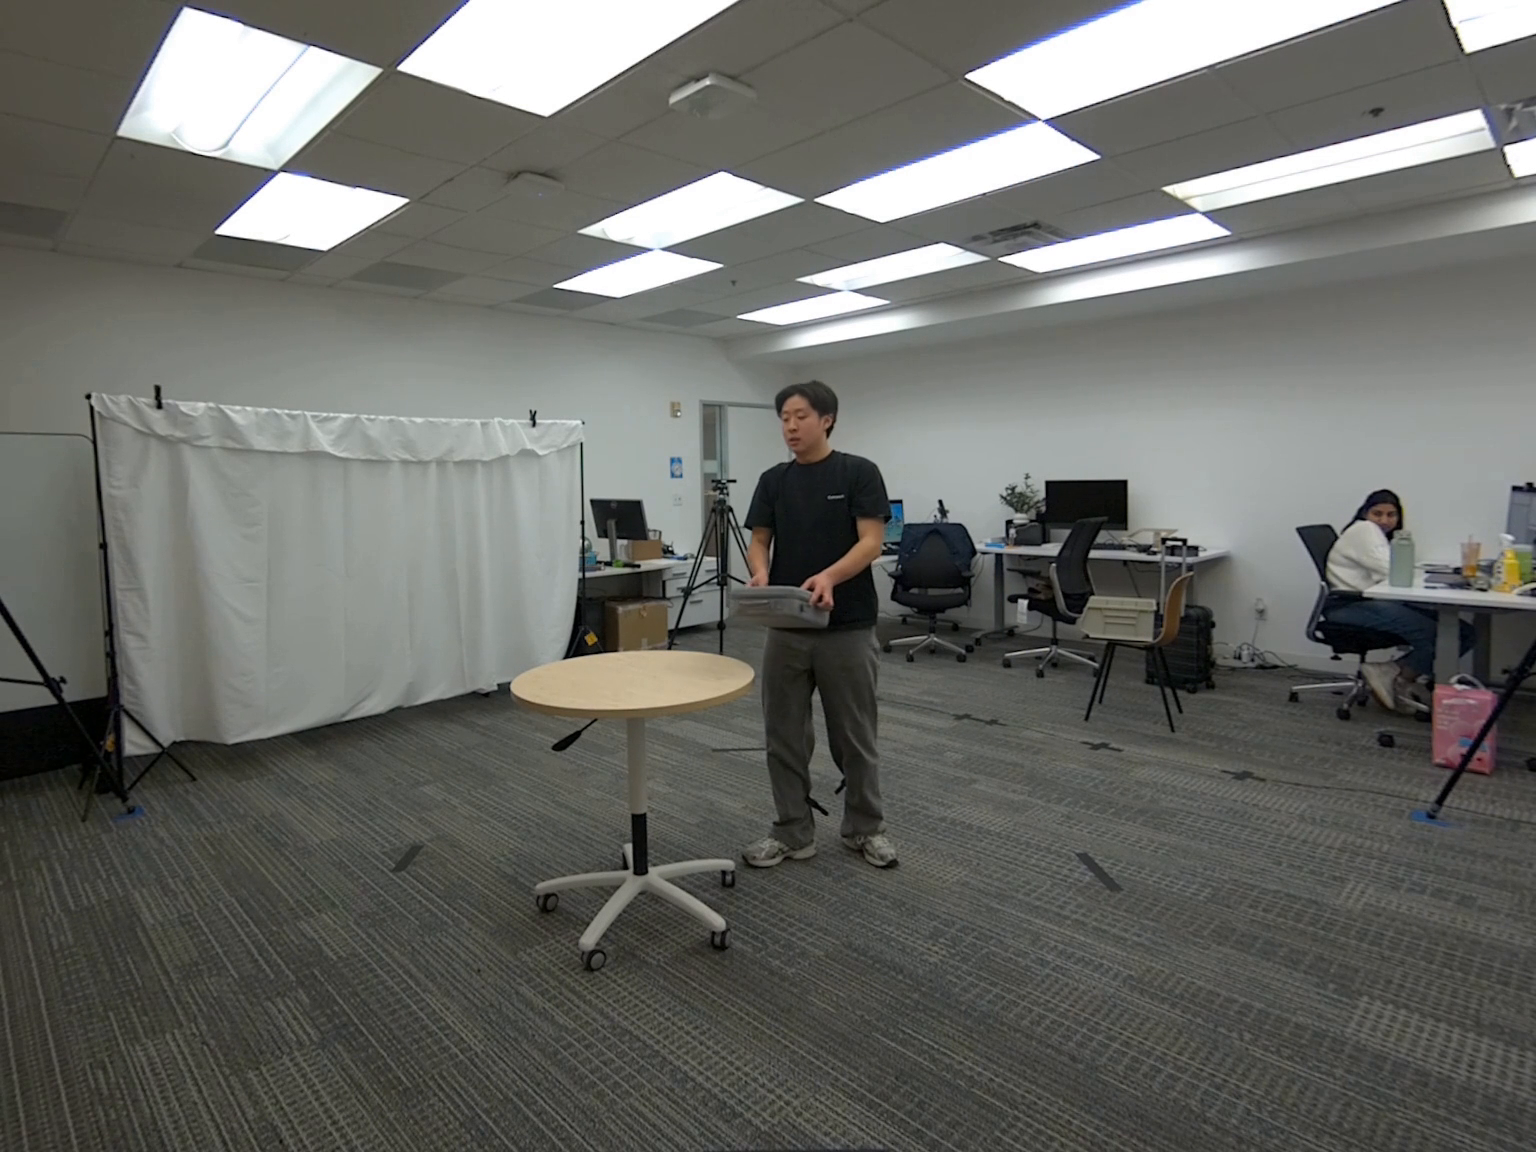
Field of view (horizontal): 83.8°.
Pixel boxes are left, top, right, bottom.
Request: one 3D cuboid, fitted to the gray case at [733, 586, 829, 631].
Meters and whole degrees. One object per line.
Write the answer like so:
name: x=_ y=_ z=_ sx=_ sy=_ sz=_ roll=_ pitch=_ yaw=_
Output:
gray case: x=0.040 y=0.110 z=2.774 sx=0.270 sy=0.104 sz=0.277 roll=-3 pitch=-12 yaw=35
